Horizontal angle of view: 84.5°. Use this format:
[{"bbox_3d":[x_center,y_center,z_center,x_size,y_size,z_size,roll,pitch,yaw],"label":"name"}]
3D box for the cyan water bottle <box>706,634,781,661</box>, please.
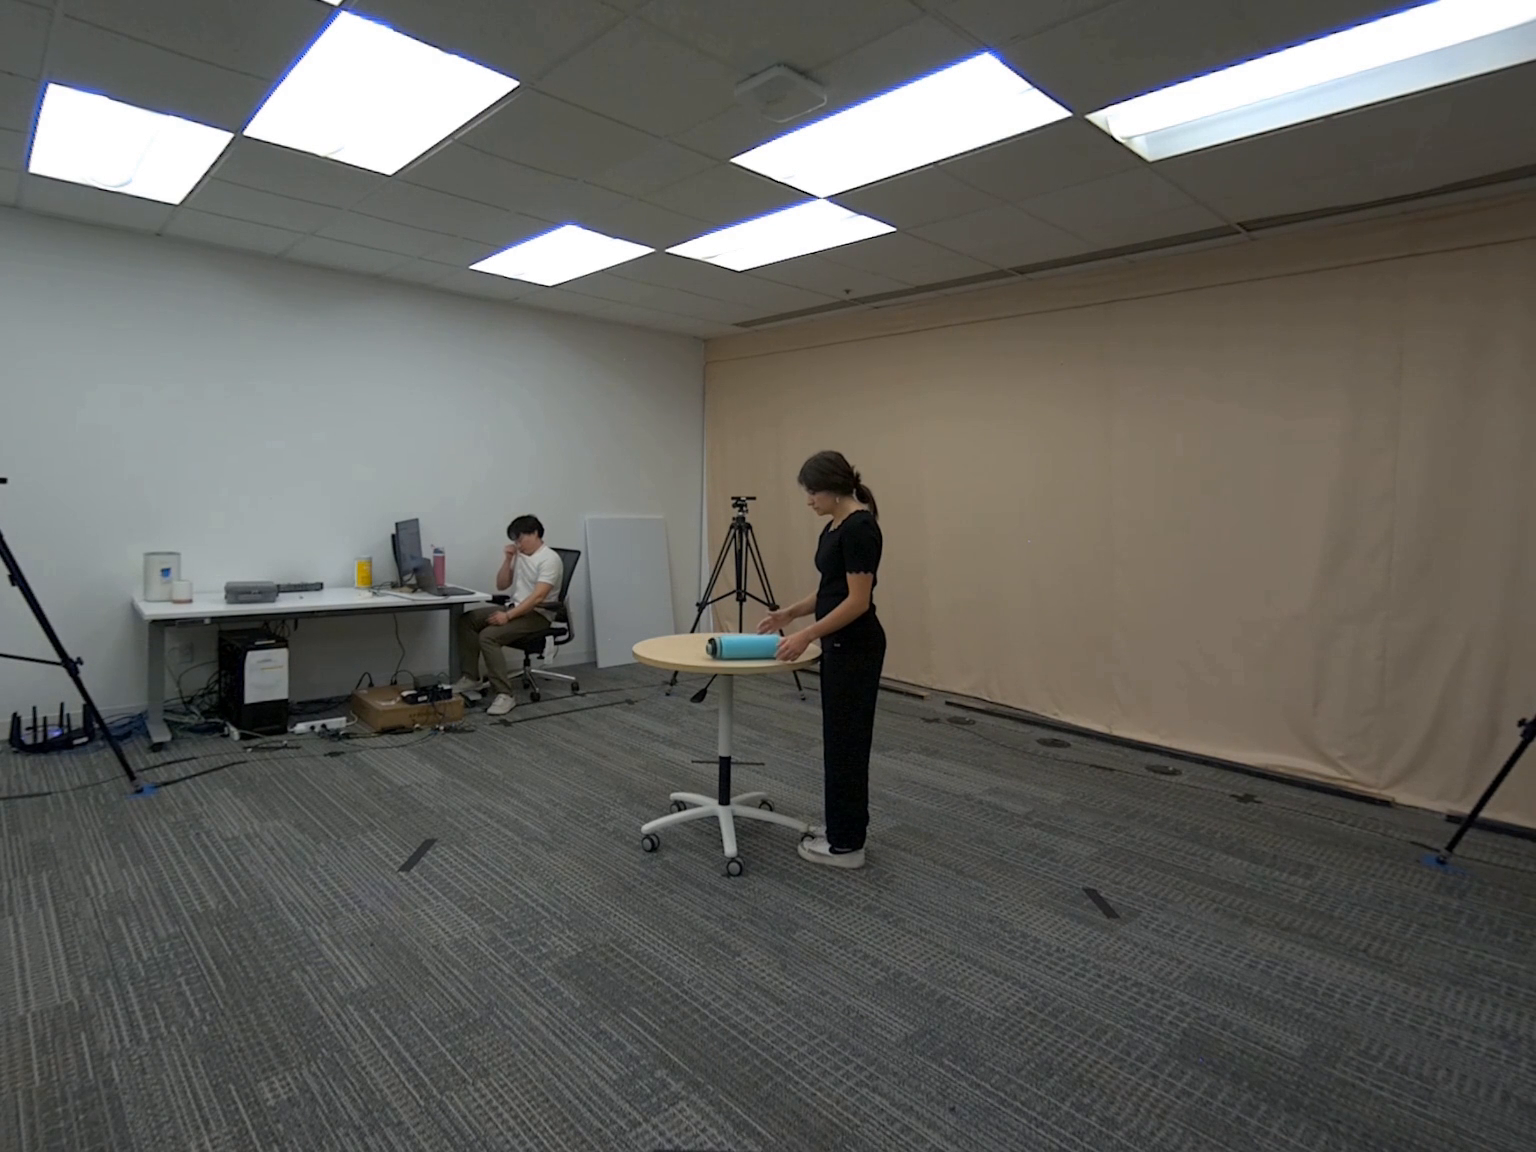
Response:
[{"bbox_3d":[-0.101,0.268,3.188,0.282,0.092,0.093,0,4,-7],"label":"cyan water bottle"}]
